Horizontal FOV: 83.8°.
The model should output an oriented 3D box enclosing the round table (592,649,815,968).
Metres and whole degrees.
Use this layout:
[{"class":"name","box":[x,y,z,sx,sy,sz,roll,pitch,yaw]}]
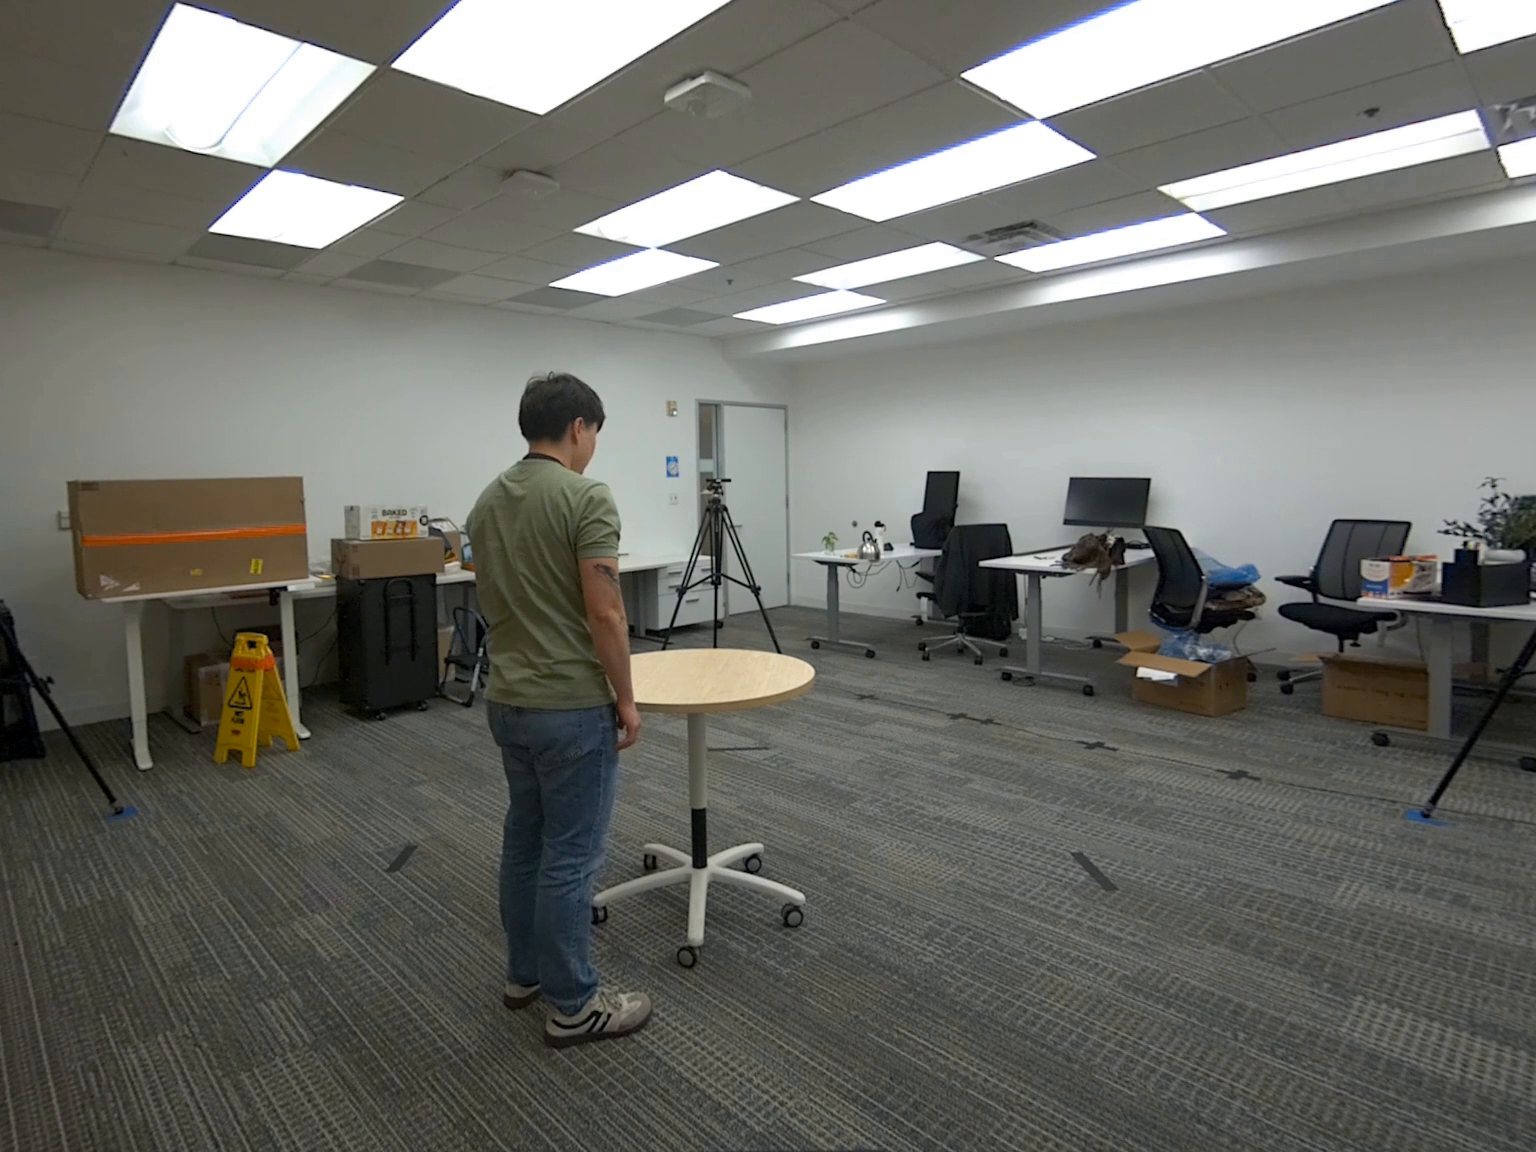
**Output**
[{"class":"round table","box":[-0.222,0.699,2.770,0.763,0.790,0.768,-1,5,-2]}]
